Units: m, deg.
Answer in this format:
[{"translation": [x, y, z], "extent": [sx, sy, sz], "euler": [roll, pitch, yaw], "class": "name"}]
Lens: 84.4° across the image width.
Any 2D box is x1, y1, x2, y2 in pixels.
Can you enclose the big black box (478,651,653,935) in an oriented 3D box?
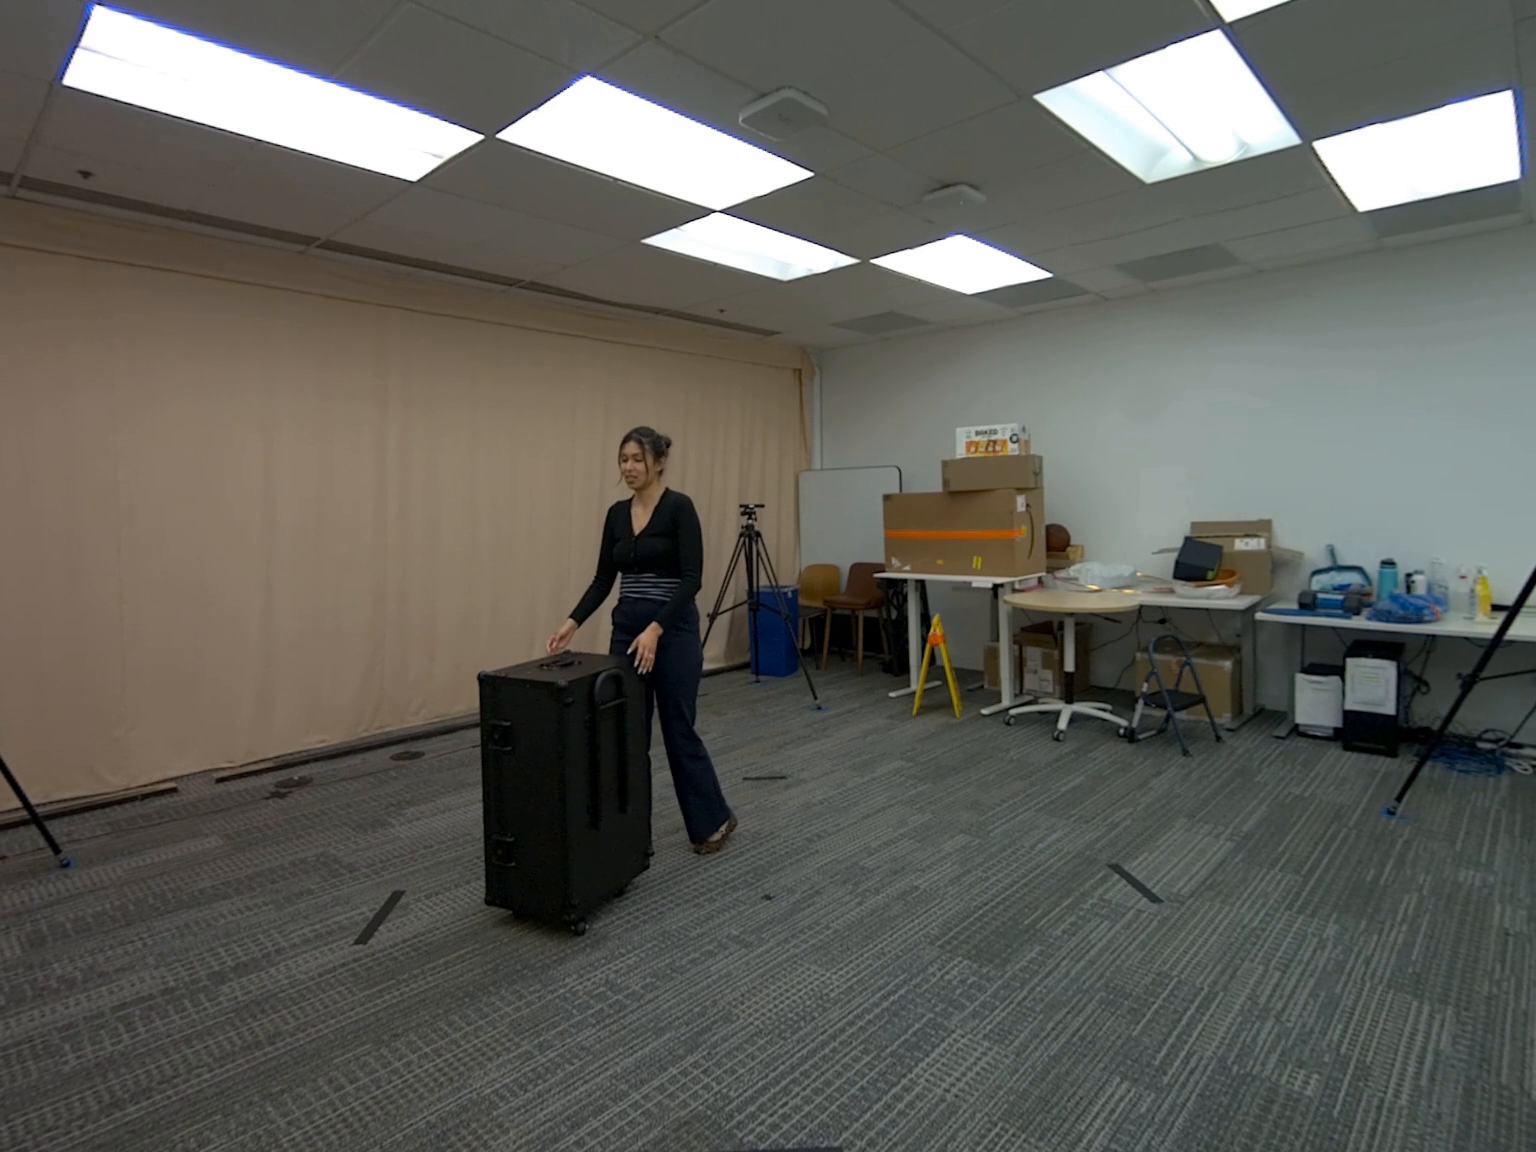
[{"translation": [-0.684, 0.738, 2.940], "extent": [0.406, 0.860, 0.509], "euler": [1, 3, 25], "class": "big black box"}]
